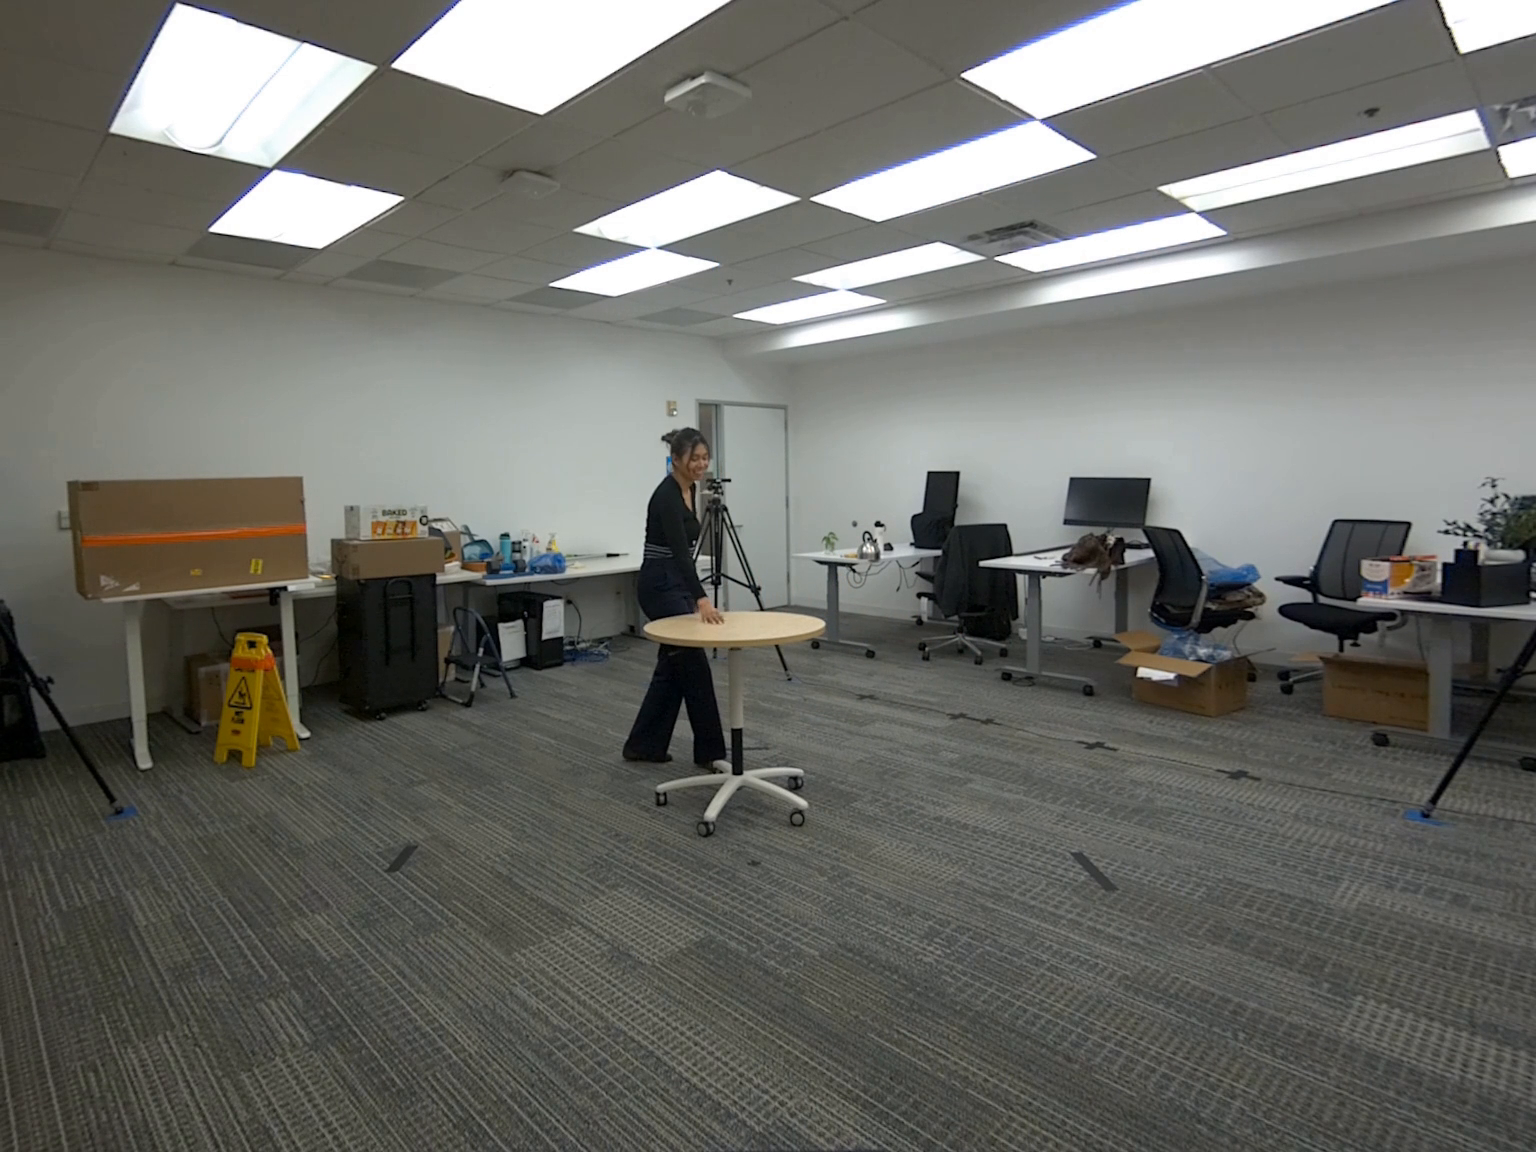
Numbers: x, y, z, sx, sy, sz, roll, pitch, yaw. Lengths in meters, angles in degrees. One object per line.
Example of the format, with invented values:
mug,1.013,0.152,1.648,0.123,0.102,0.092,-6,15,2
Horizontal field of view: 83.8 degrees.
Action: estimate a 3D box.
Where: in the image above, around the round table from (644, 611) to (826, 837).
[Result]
round table,-0.131,0.598,3.631,0.763,0.791,0.767,-1,4,-2
